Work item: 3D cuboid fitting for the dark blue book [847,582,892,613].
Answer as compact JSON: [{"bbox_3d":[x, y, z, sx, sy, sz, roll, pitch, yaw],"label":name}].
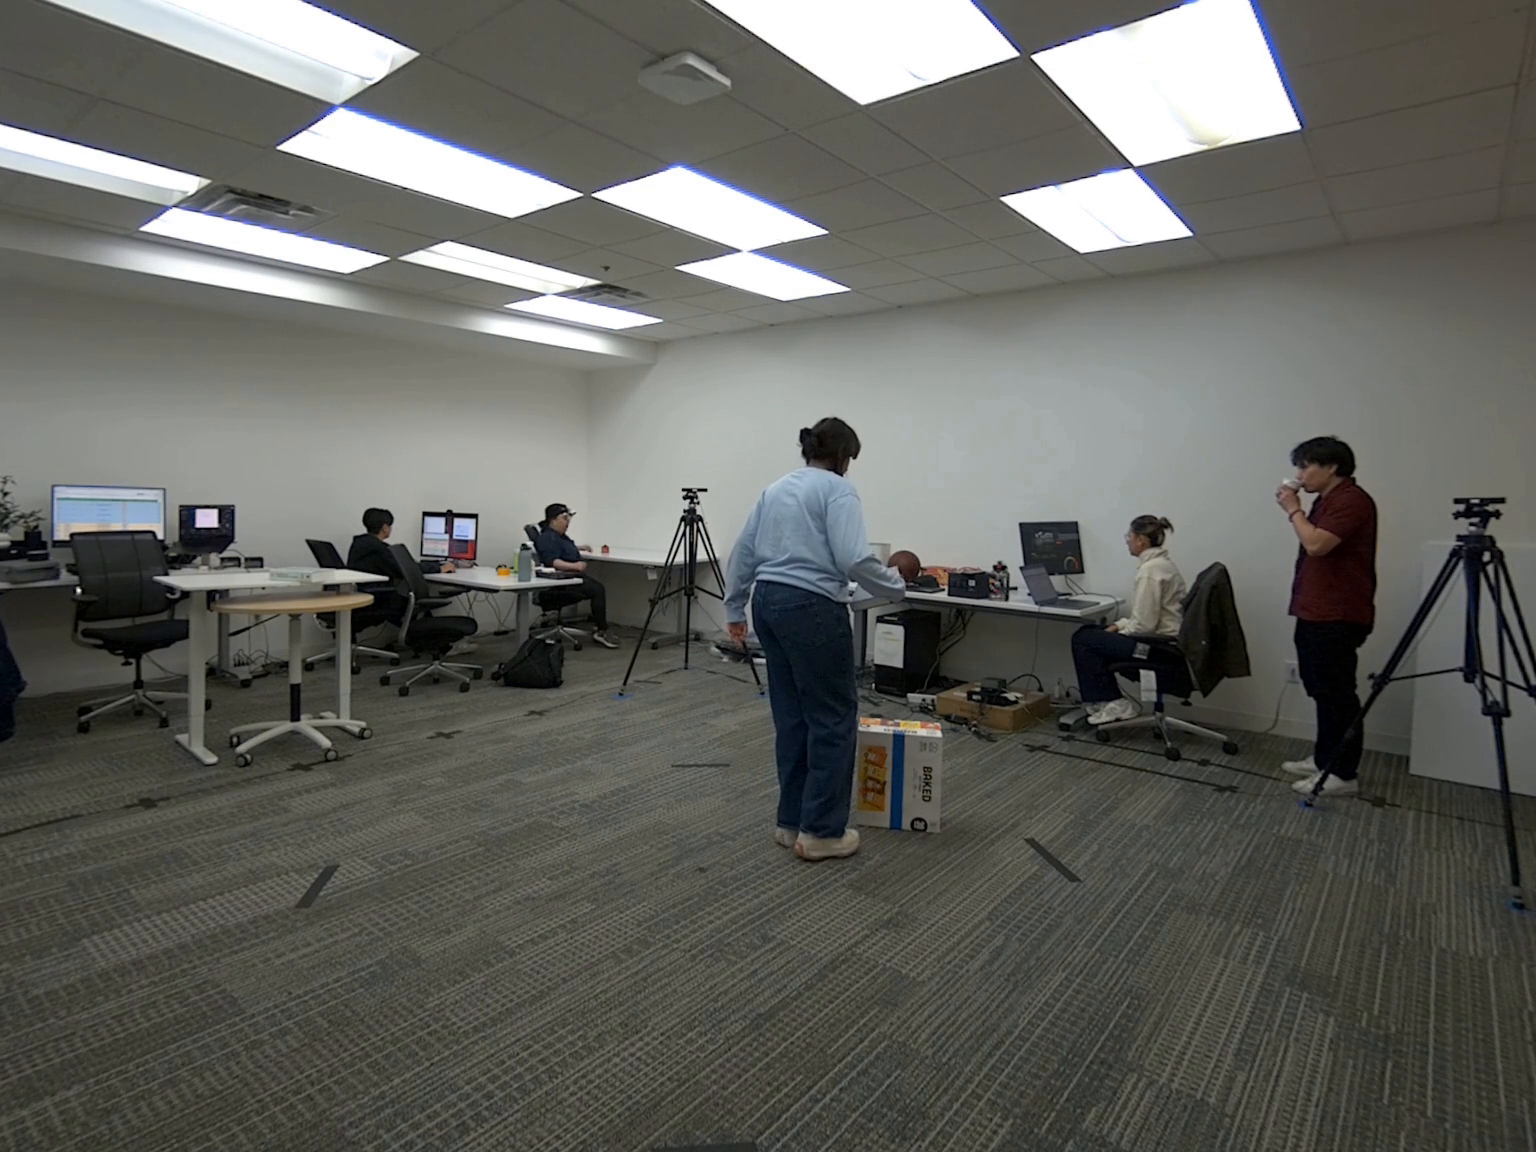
[{"bbox_3d":[0.414,0.055,3.358,0.166,0.044,0.246,-14,21,22],"label":"dark blue book"}]
